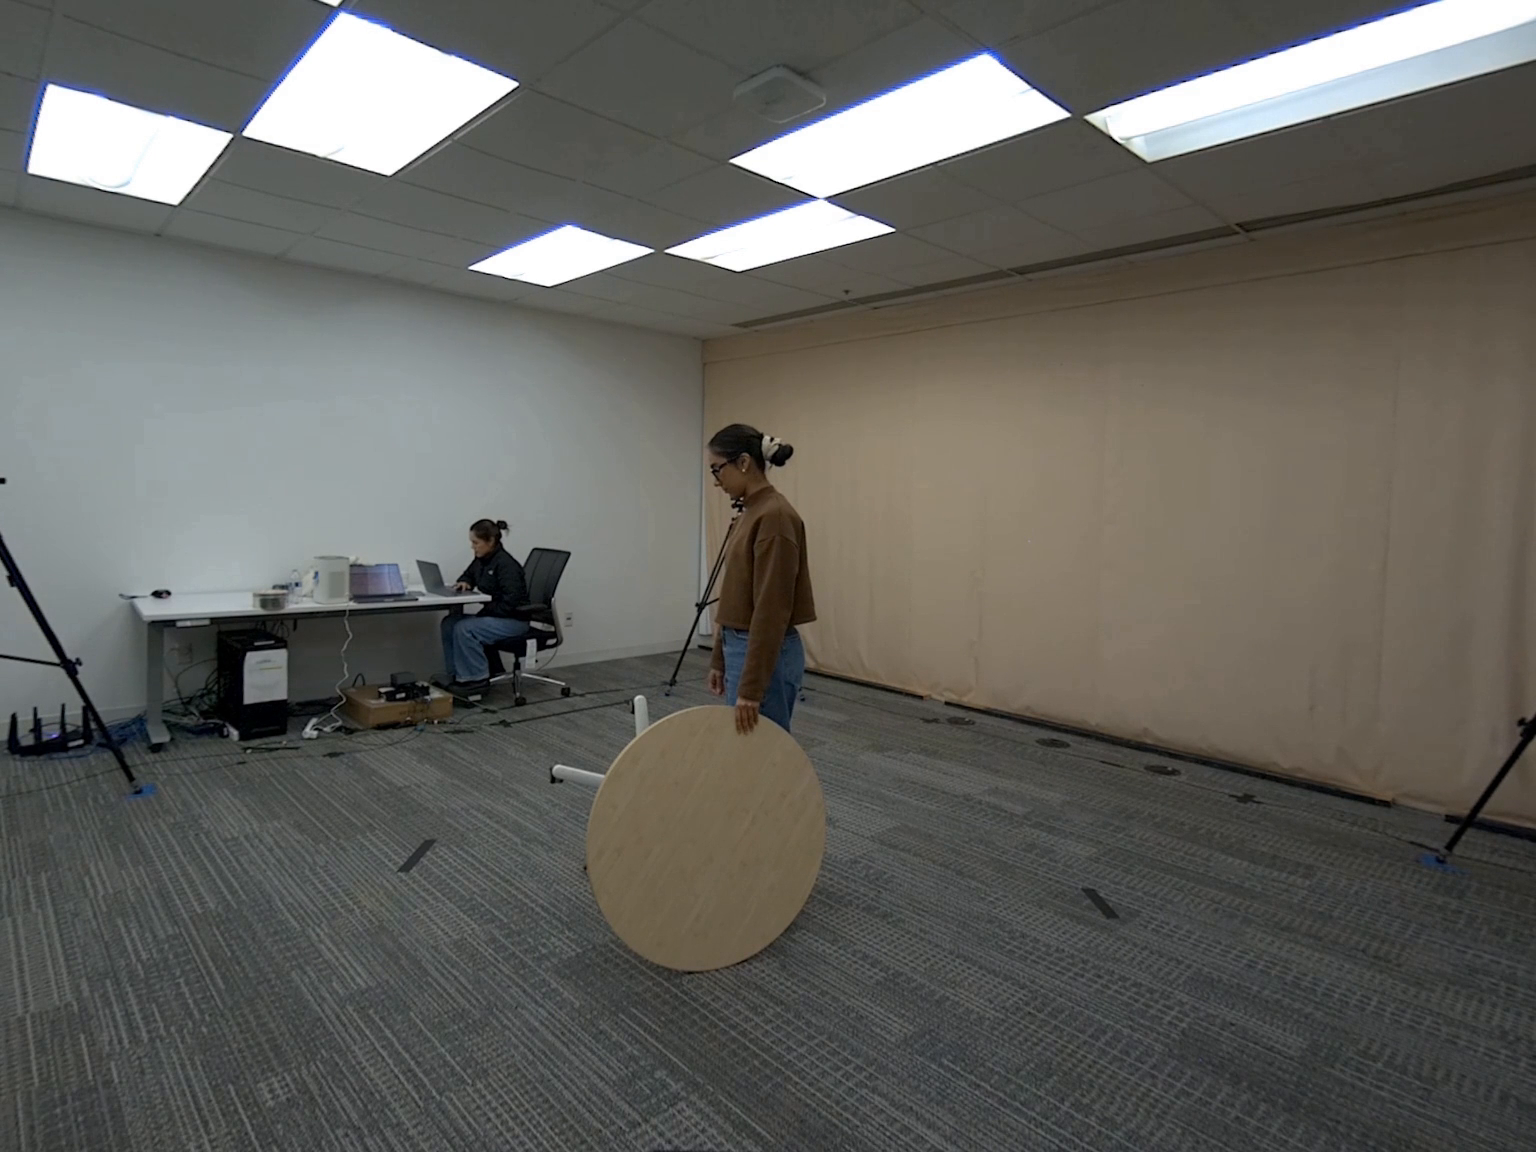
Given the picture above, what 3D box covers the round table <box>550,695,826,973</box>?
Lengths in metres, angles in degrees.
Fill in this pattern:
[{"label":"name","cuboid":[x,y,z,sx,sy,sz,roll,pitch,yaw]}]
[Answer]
[{"label":"round table","cuboid":[-0.340,0.791,2.871,0.750,0.766,0.806,-1,-3,-25]}]
